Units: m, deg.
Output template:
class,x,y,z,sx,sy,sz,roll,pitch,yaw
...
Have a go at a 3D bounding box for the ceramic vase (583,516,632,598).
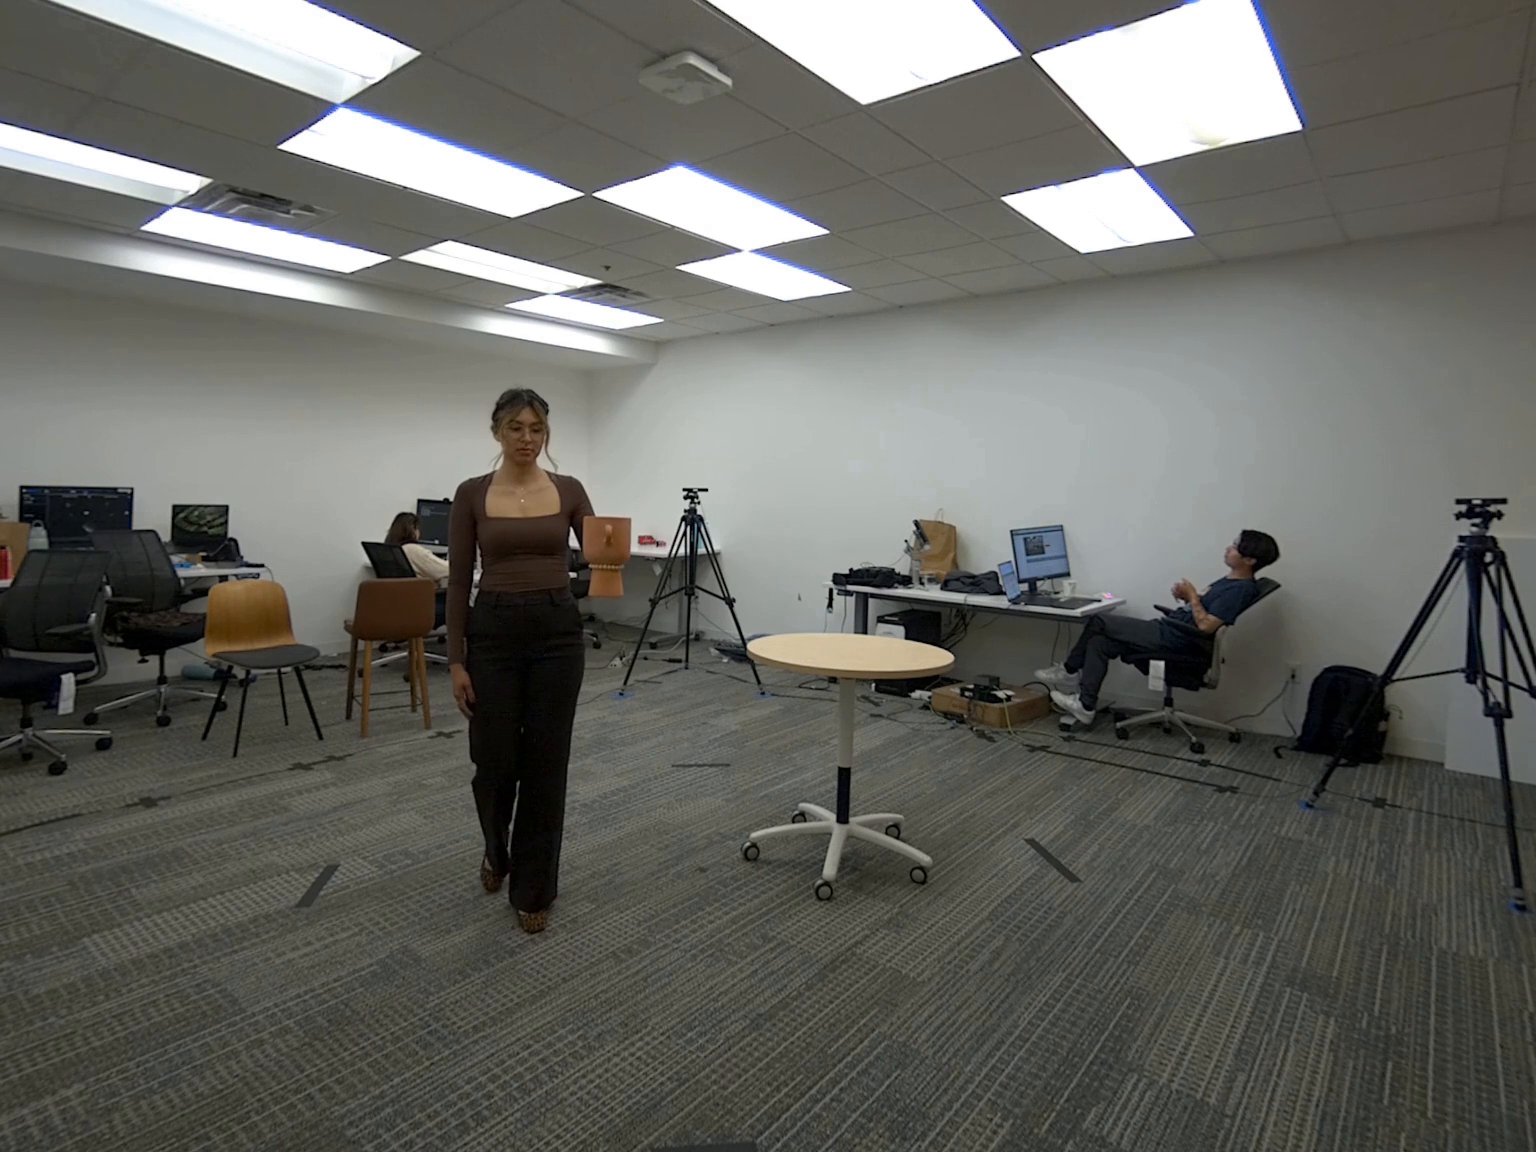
class,x,y,z,sx,sy,sz,roll,pitch,yaw
ceramic vase,-0.458,-0.053,2.369,0.138,0.219,0.154,2,2,29
